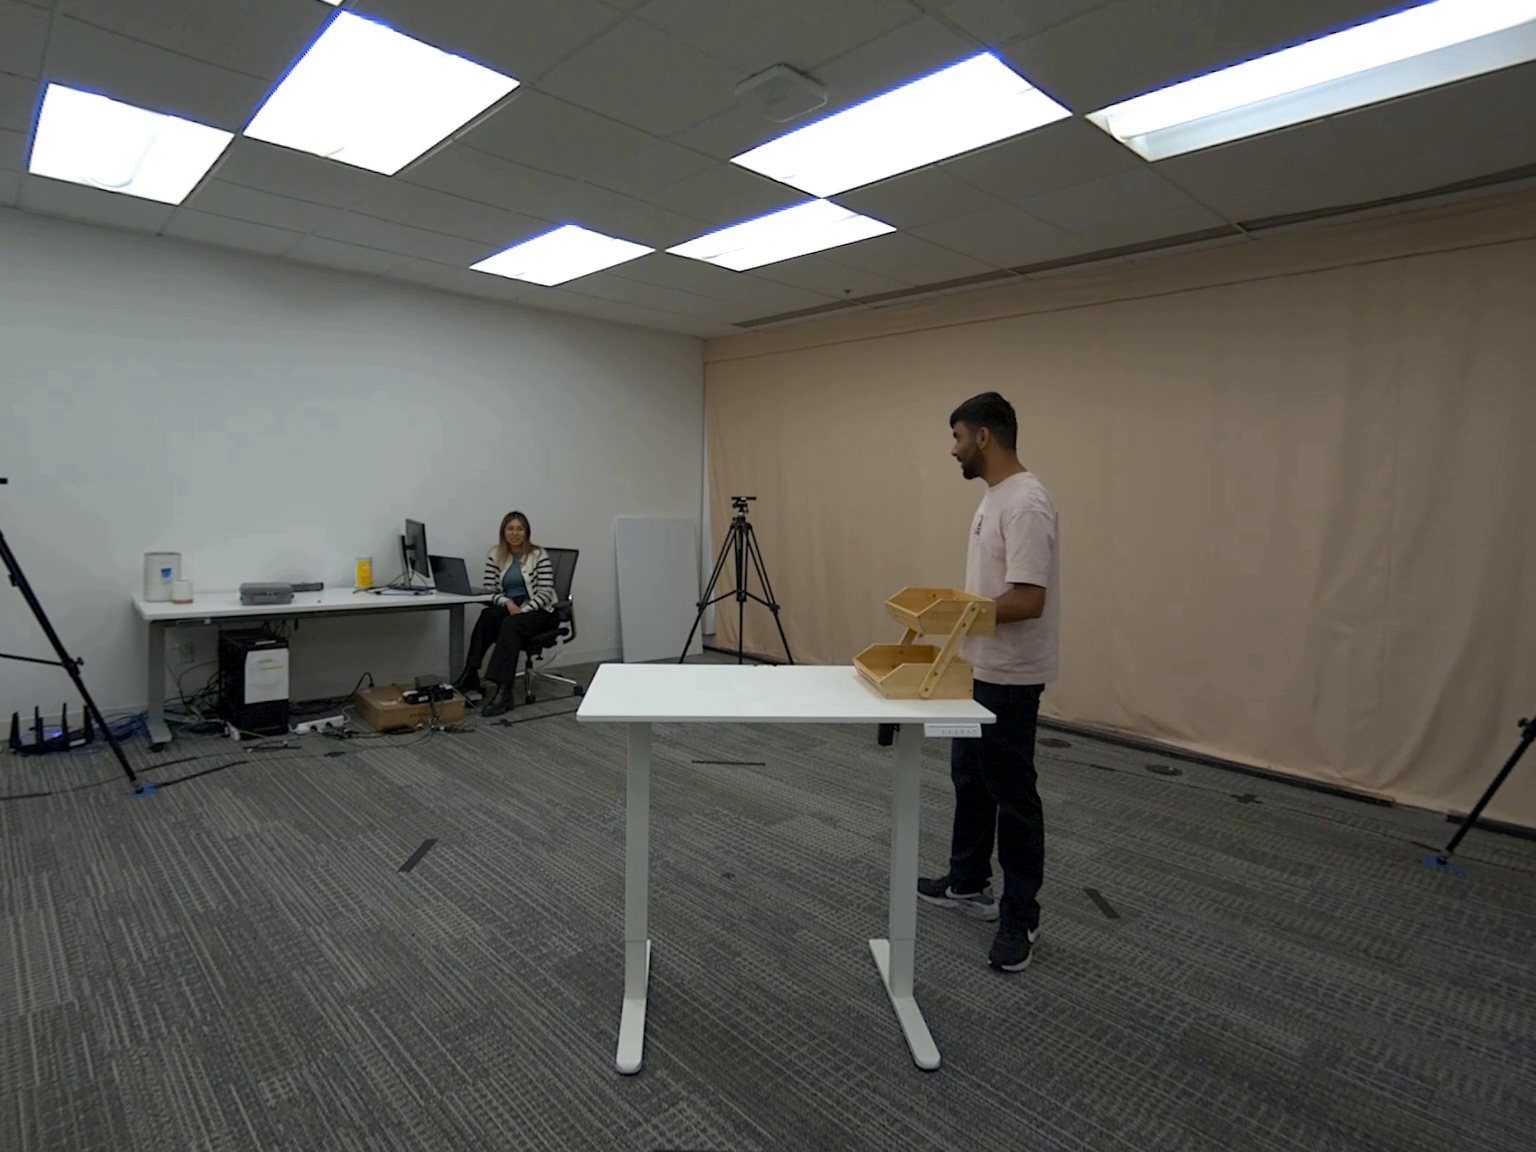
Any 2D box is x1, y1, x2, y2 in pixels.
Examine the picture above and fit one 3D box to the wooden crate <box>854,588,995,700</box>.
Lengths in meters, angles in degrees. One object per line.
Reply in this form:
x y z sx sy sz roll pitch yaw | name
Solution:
0.410 0.174 2.313 0.300 0.272 0.327 3 5 -7 | wooden crate
